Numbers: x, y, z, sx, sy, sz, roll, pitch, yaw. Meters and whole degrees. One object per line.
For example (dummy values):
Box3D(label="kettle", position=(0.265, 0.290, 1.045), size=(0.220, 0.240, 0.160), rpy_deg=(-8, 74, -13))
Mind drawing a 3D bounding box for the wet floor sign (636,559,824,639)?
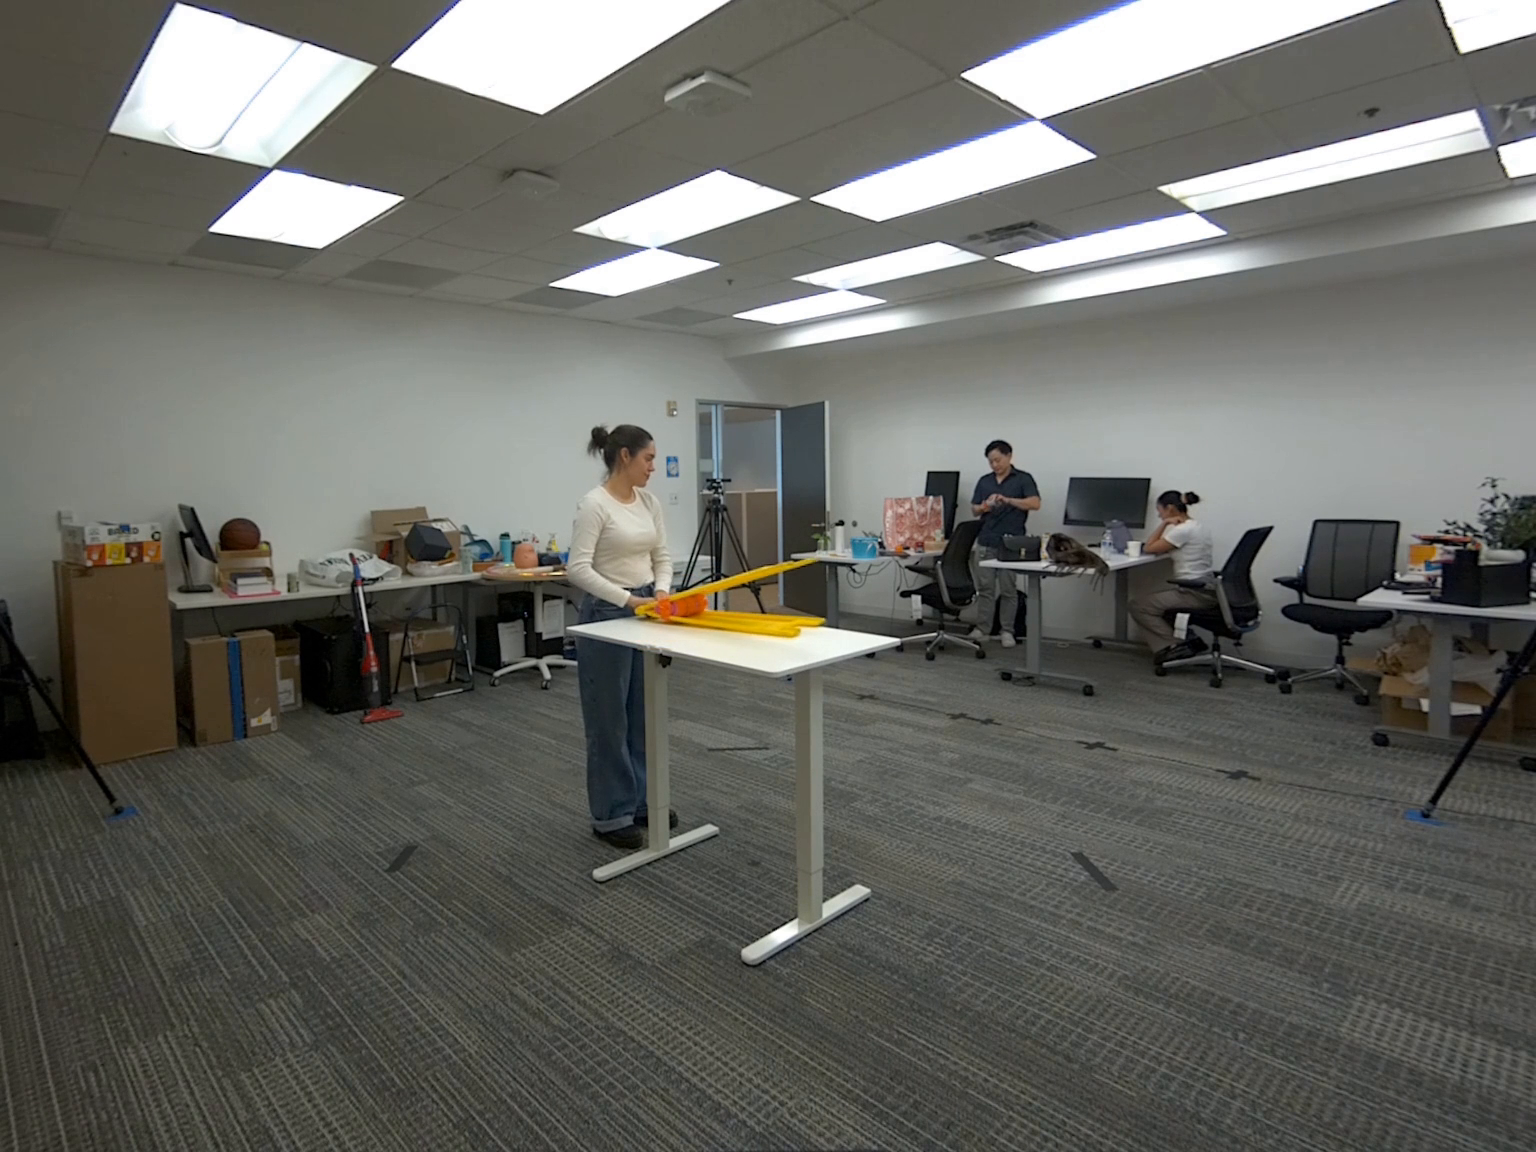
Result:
Box3D(label="wet floor sign", position=(-0.165, 0.104, 3.047), size=(0.660, 0.290, 0.276), rpy_deg=(-6, 1, 30))
